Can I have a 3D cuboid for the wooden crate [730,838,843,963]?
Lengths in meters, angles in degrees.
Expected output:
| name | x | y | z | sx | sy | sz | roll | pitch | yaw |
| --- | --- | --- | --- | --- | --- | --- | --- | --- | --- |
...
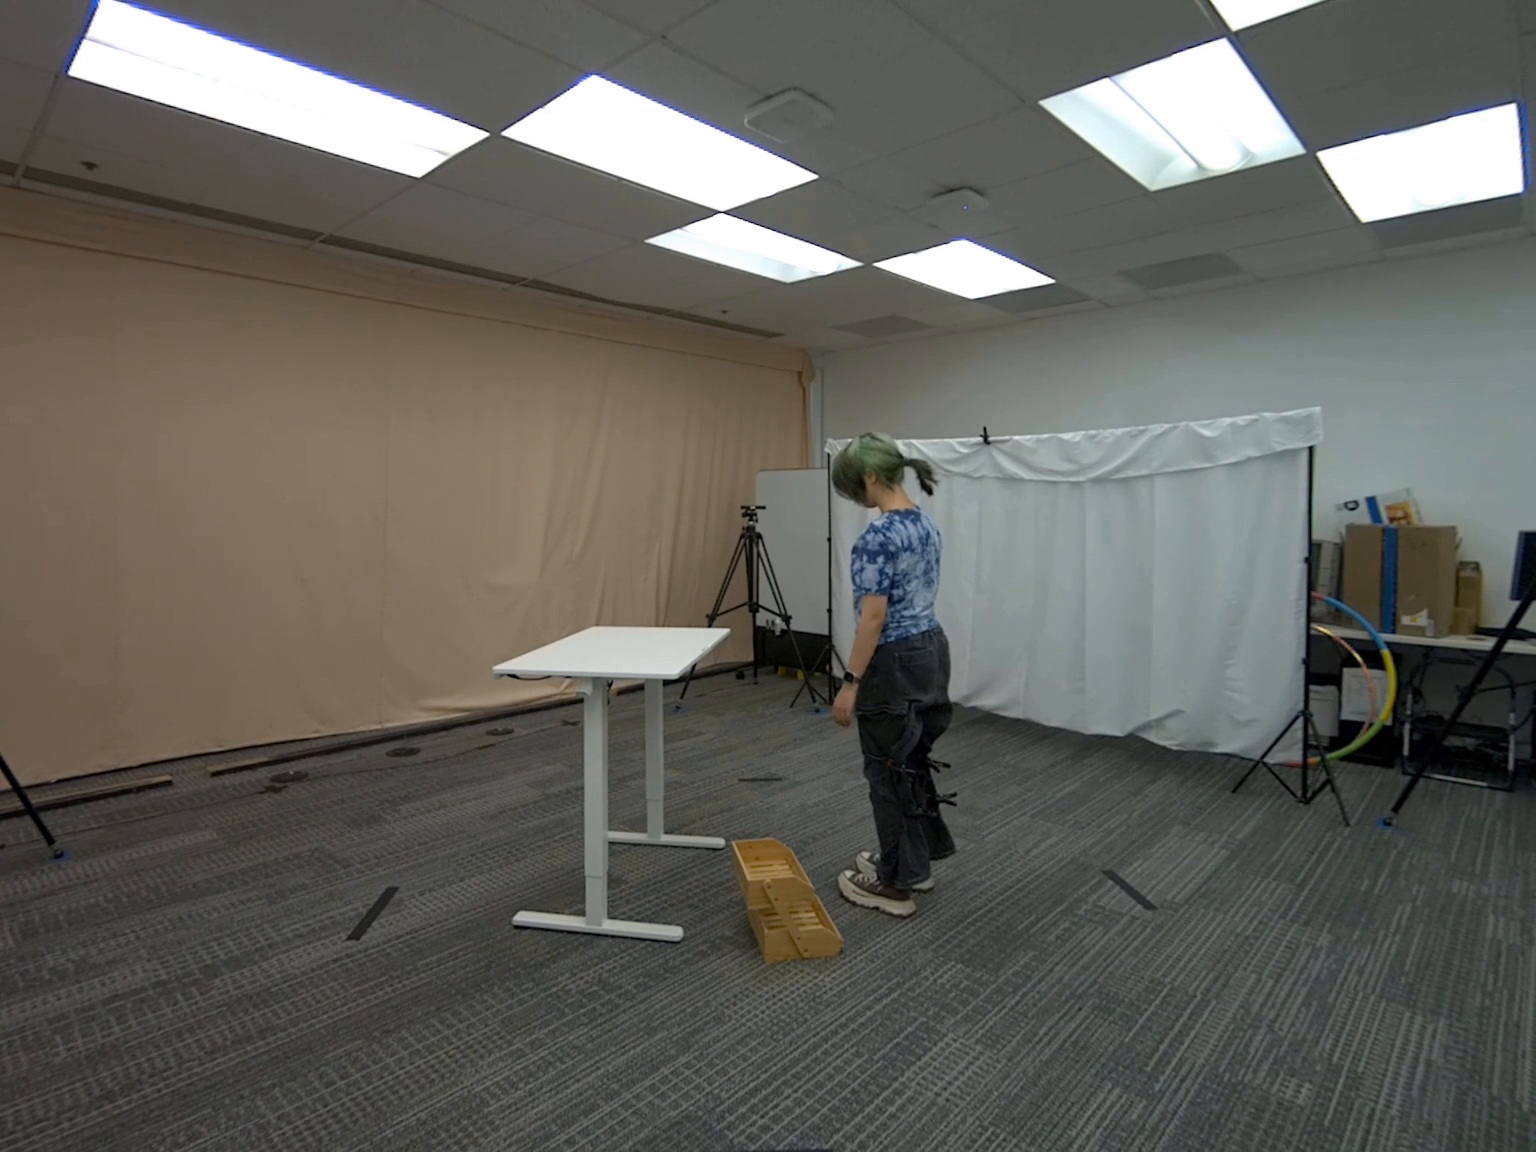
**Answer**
| name | x | y | z | sx | sy | sz | roll | pitch | yaw |
| --- | --- | --- | --- | --- | --- | --- | --- | --- | --- |
| wooden crate | 0.063 | 1.029 | 2.723 | 0.299 | 0.273 | 0.329 | -1 | 4 | -11 |
